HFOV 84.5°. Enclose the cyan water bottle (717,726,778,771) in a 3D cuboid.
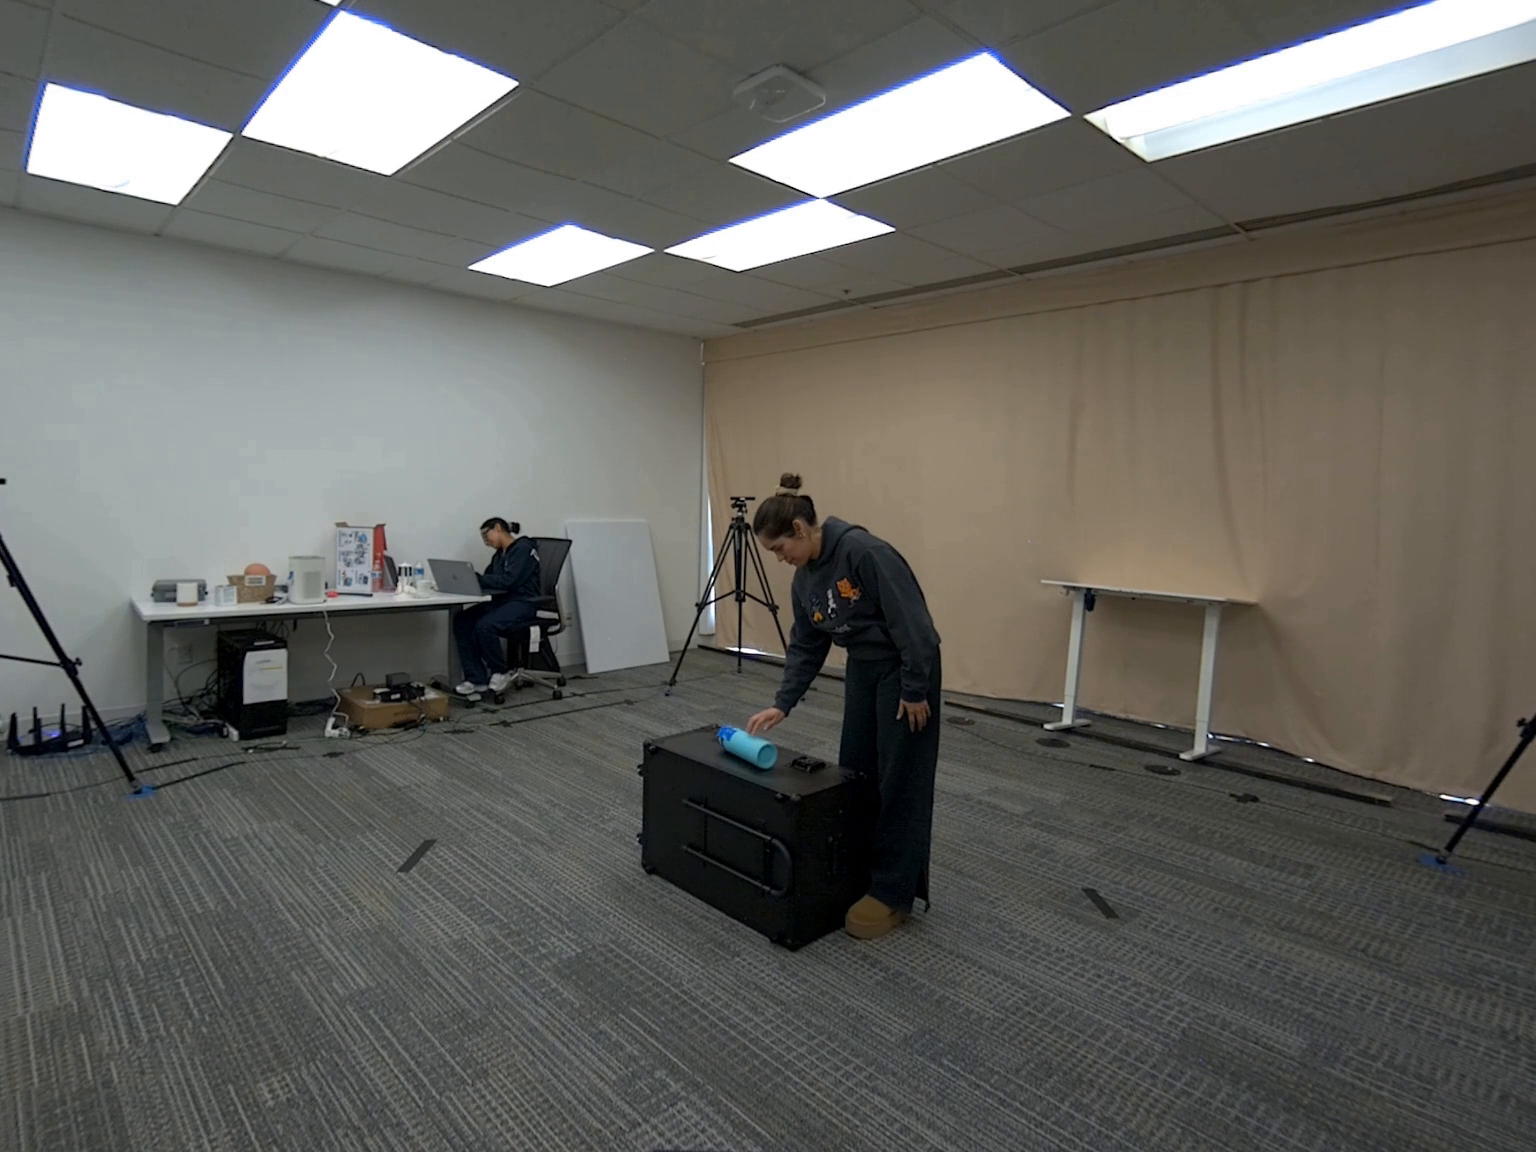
[{"bbox_3d":[-0.085,0.587,2.961,0.090,0.092,0.290,-2,6,-33],"label":"cyan water bottle"}]
